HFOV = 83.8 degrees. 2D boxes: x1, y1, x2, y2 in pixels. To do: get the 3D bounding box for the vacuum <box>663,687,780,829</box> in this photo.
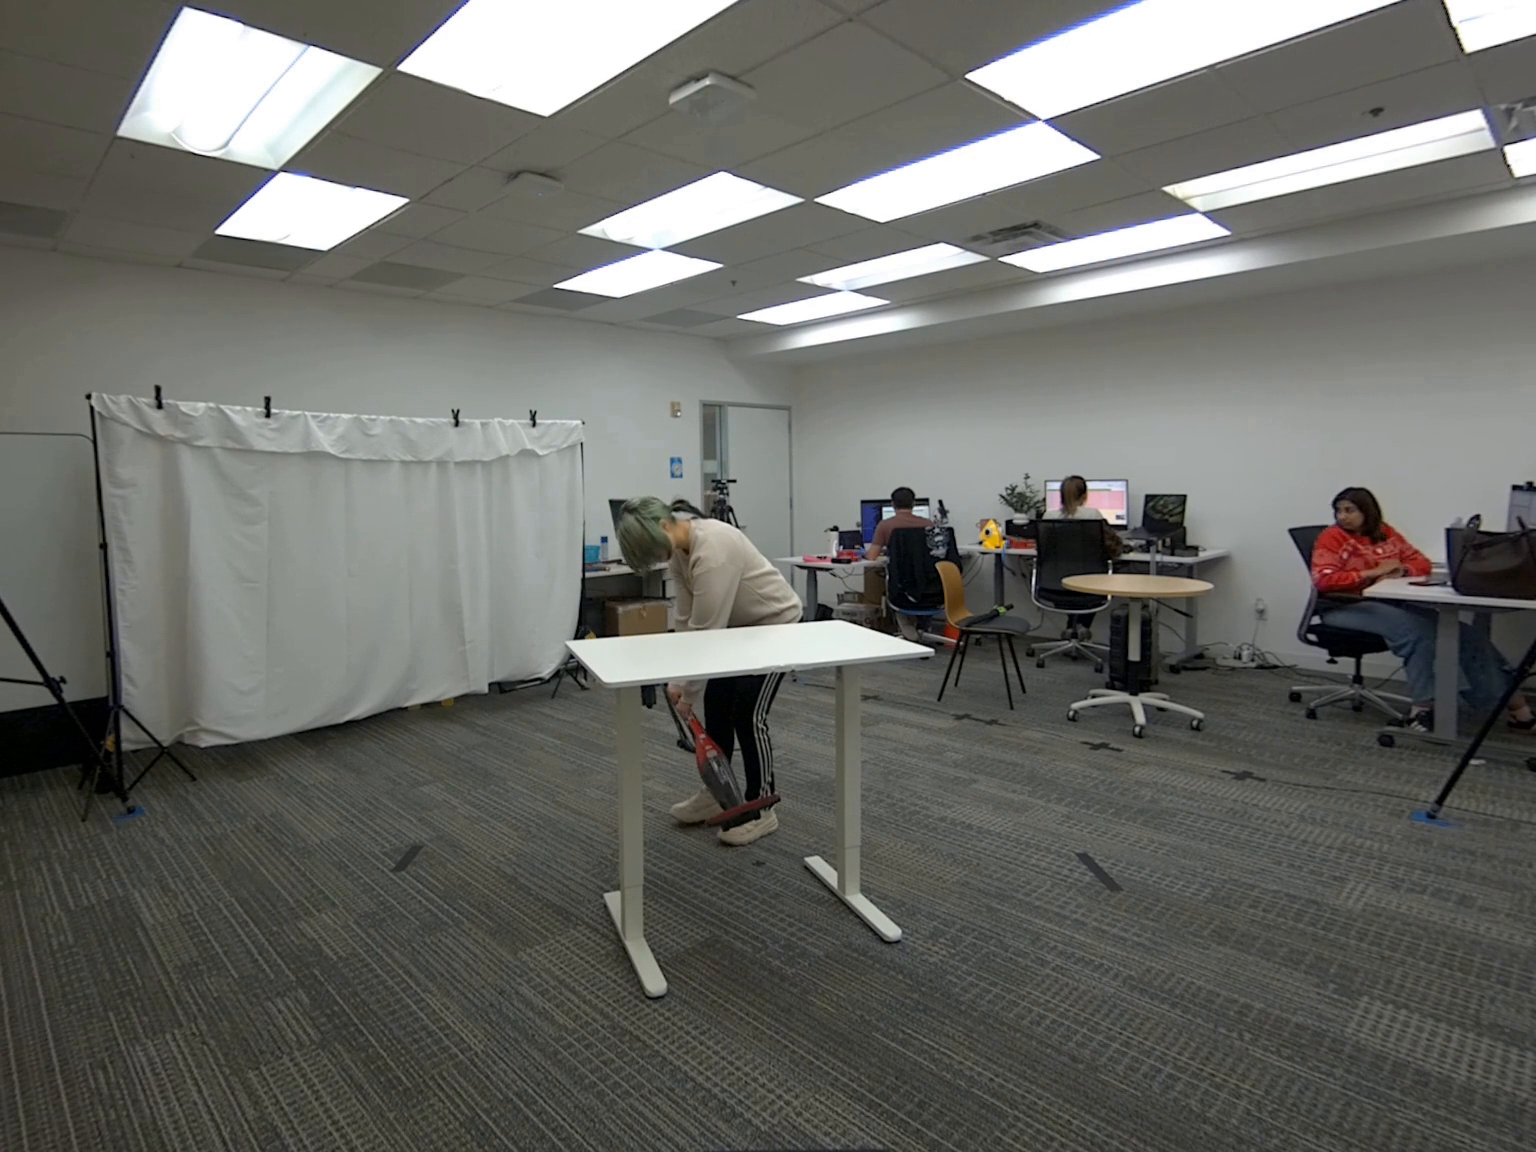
[{"bbox_3d":[-0.287,0.578,3.206,0.250,0.141,1.086,-15,27,-17],"label":"vacuum"}]
